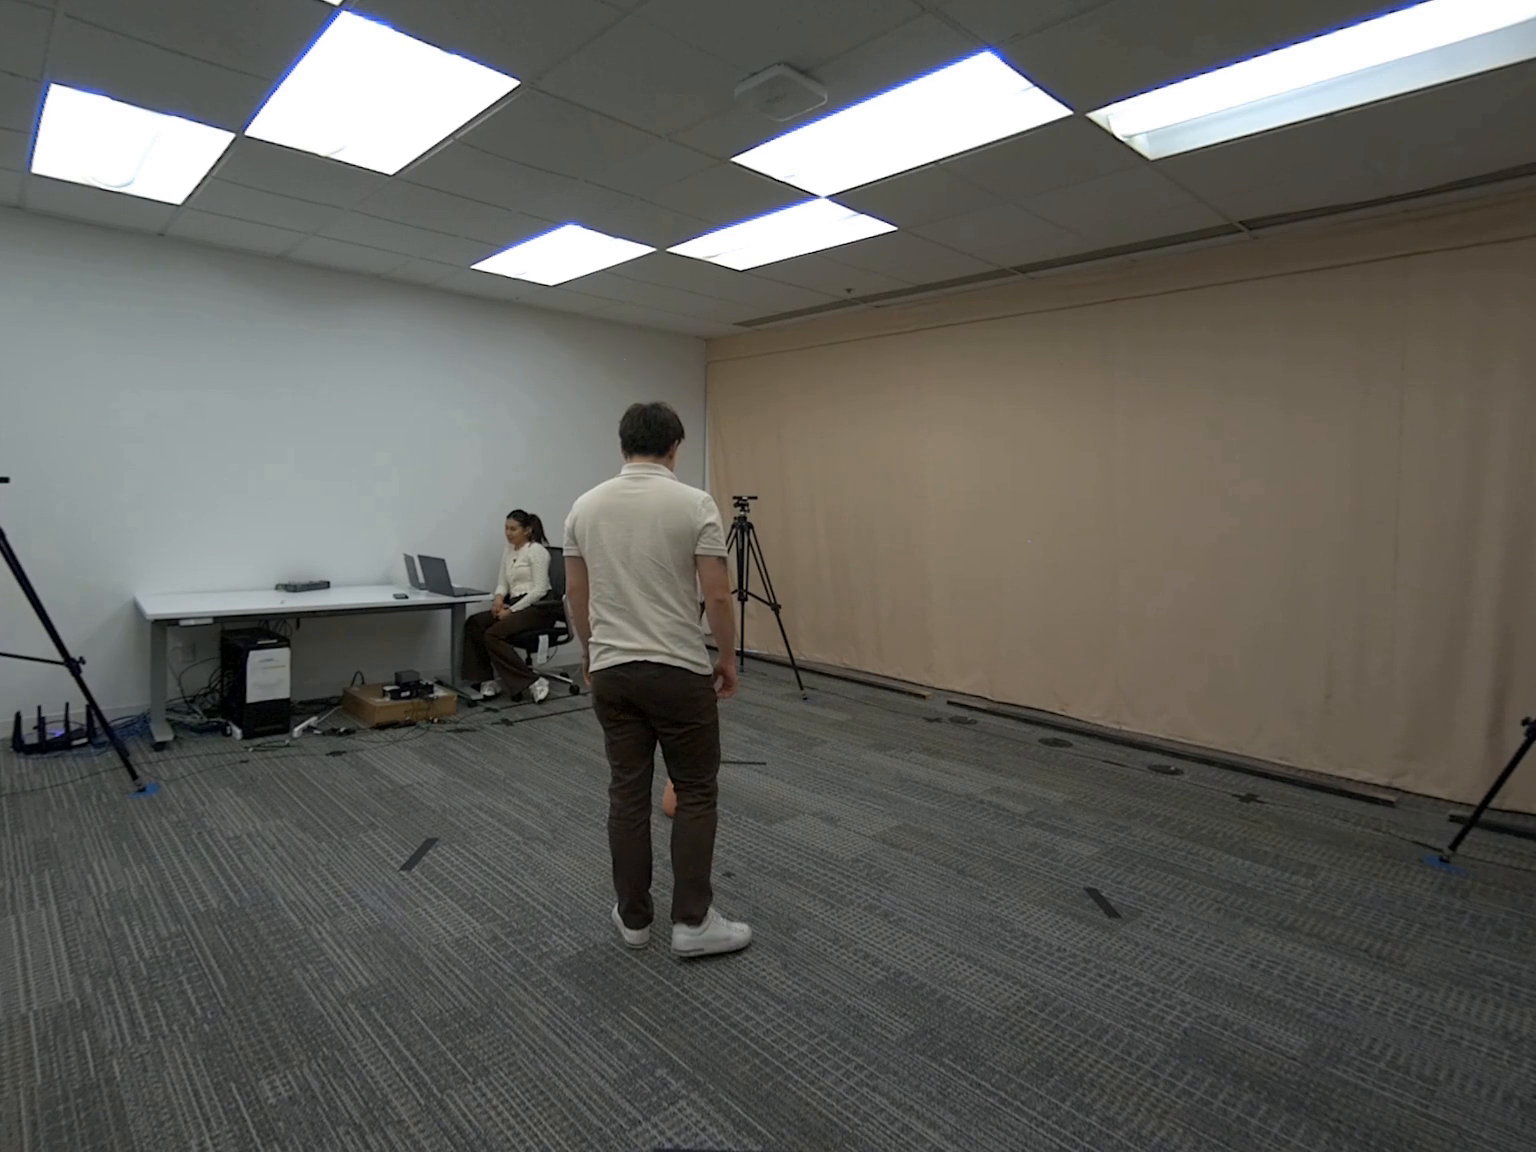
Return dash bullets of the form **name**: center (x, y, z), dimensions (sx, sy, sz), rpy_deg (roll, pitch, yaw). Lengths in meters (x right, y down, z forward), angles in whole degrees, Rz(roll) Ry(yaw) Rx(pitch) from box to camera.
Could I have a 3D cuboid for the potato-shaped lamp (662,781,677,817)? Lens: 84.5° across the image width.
- **potato-shaped lamp**: center (-0.387, 0.951, 3.676), dimensions (0.162, 0.198, 0.175), rpy_deg (2, 3, -24)
